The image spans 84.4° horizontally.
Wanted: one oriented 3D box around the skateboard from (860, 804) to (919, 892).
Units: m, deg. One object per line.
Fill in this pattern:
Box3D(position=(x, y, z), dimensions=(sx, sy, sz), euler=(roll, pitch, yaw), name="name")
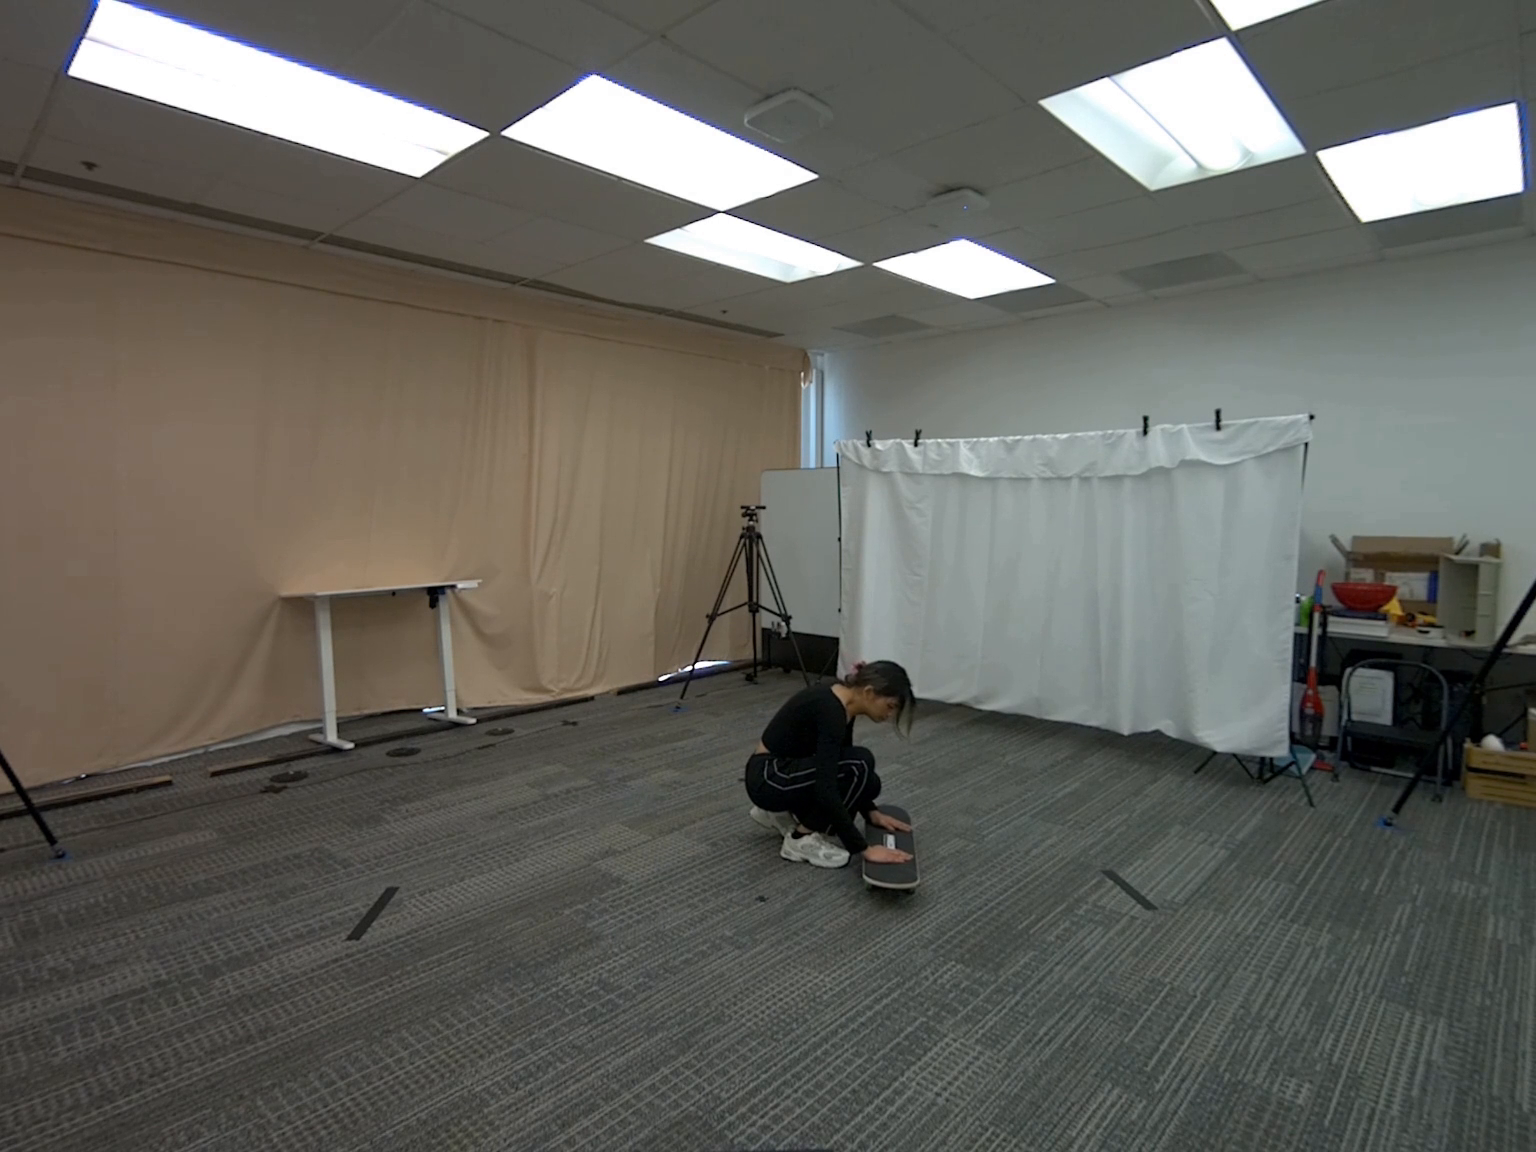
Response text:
Box3D(position=(0.466, 1.058, 3.235), dimensions=(0.195, 0.110, 0.779), euler=(0, 4, 7), name="skateboard")
